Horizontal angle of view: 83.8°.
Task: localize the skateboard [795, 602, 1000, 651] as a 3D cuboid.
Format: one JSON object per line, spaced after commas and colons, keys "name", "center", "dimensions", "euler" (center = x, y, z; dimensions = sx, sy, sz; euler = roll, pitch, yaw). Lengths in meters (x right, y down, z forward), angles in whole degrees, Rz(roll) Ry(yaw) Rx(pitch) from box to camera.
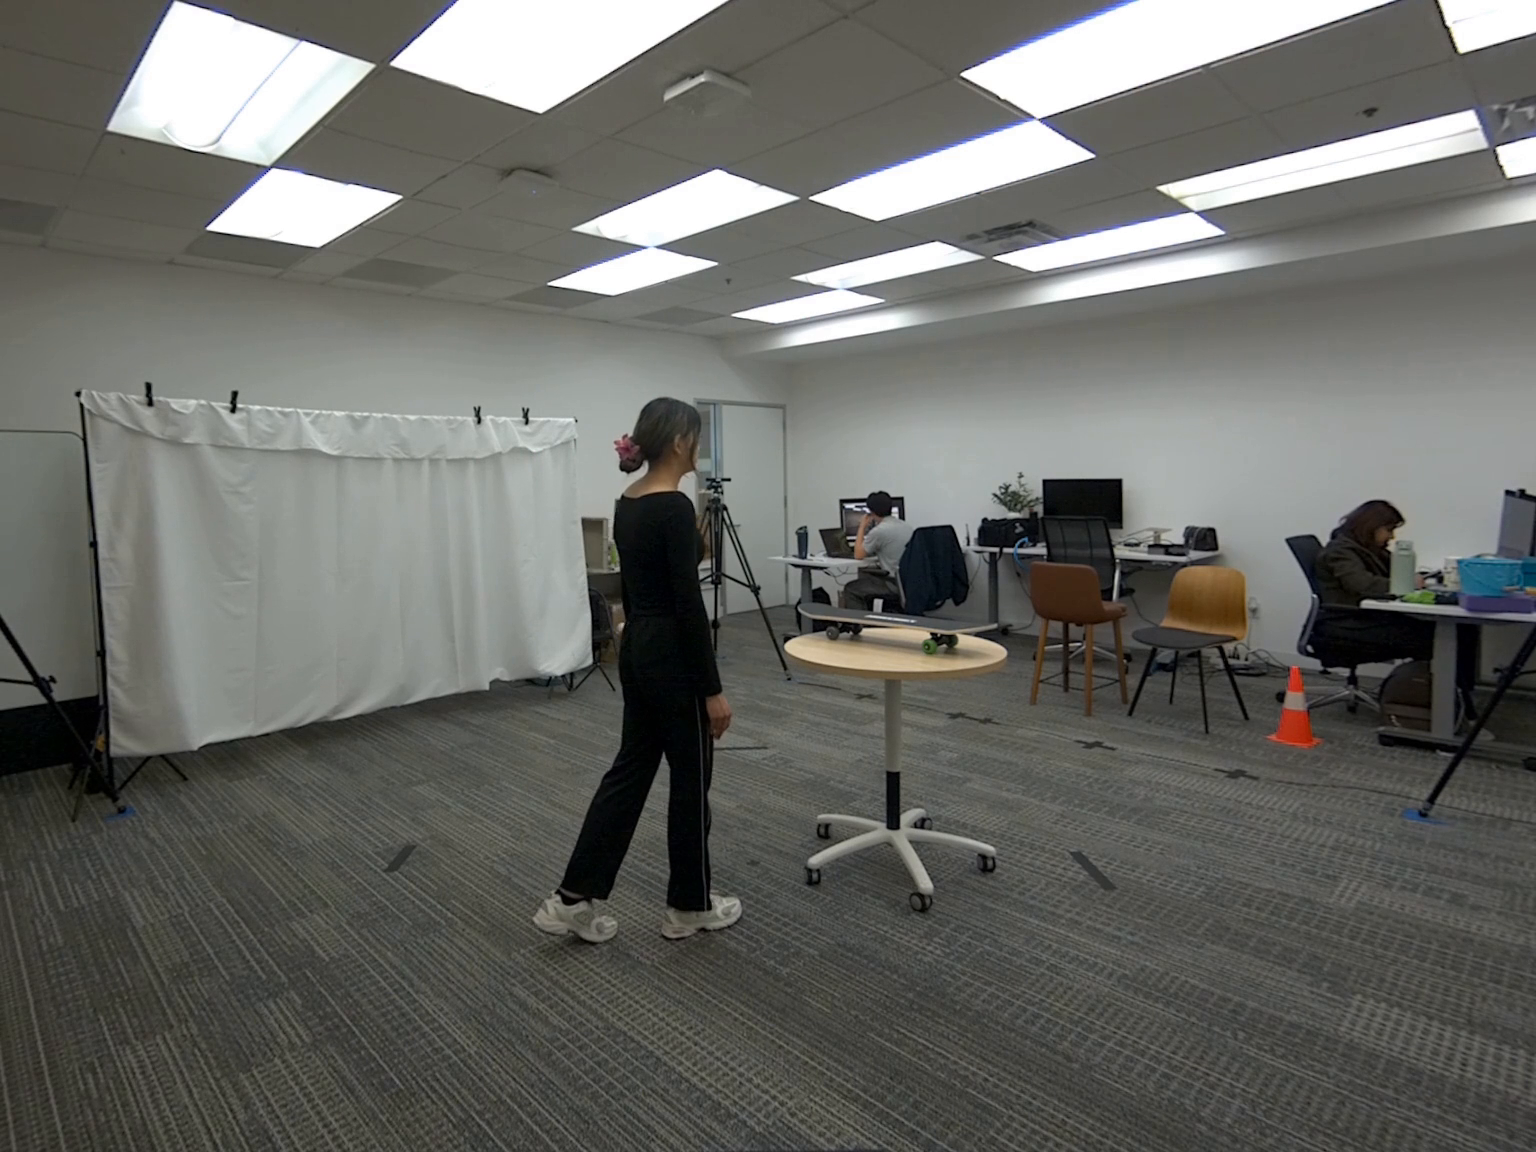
{"name": "skateboard", "center": [0.450, 0.196, 3.081], "dimensions": [0.809, 0.110, 0.188], "euler": [4, 6, 41]}
